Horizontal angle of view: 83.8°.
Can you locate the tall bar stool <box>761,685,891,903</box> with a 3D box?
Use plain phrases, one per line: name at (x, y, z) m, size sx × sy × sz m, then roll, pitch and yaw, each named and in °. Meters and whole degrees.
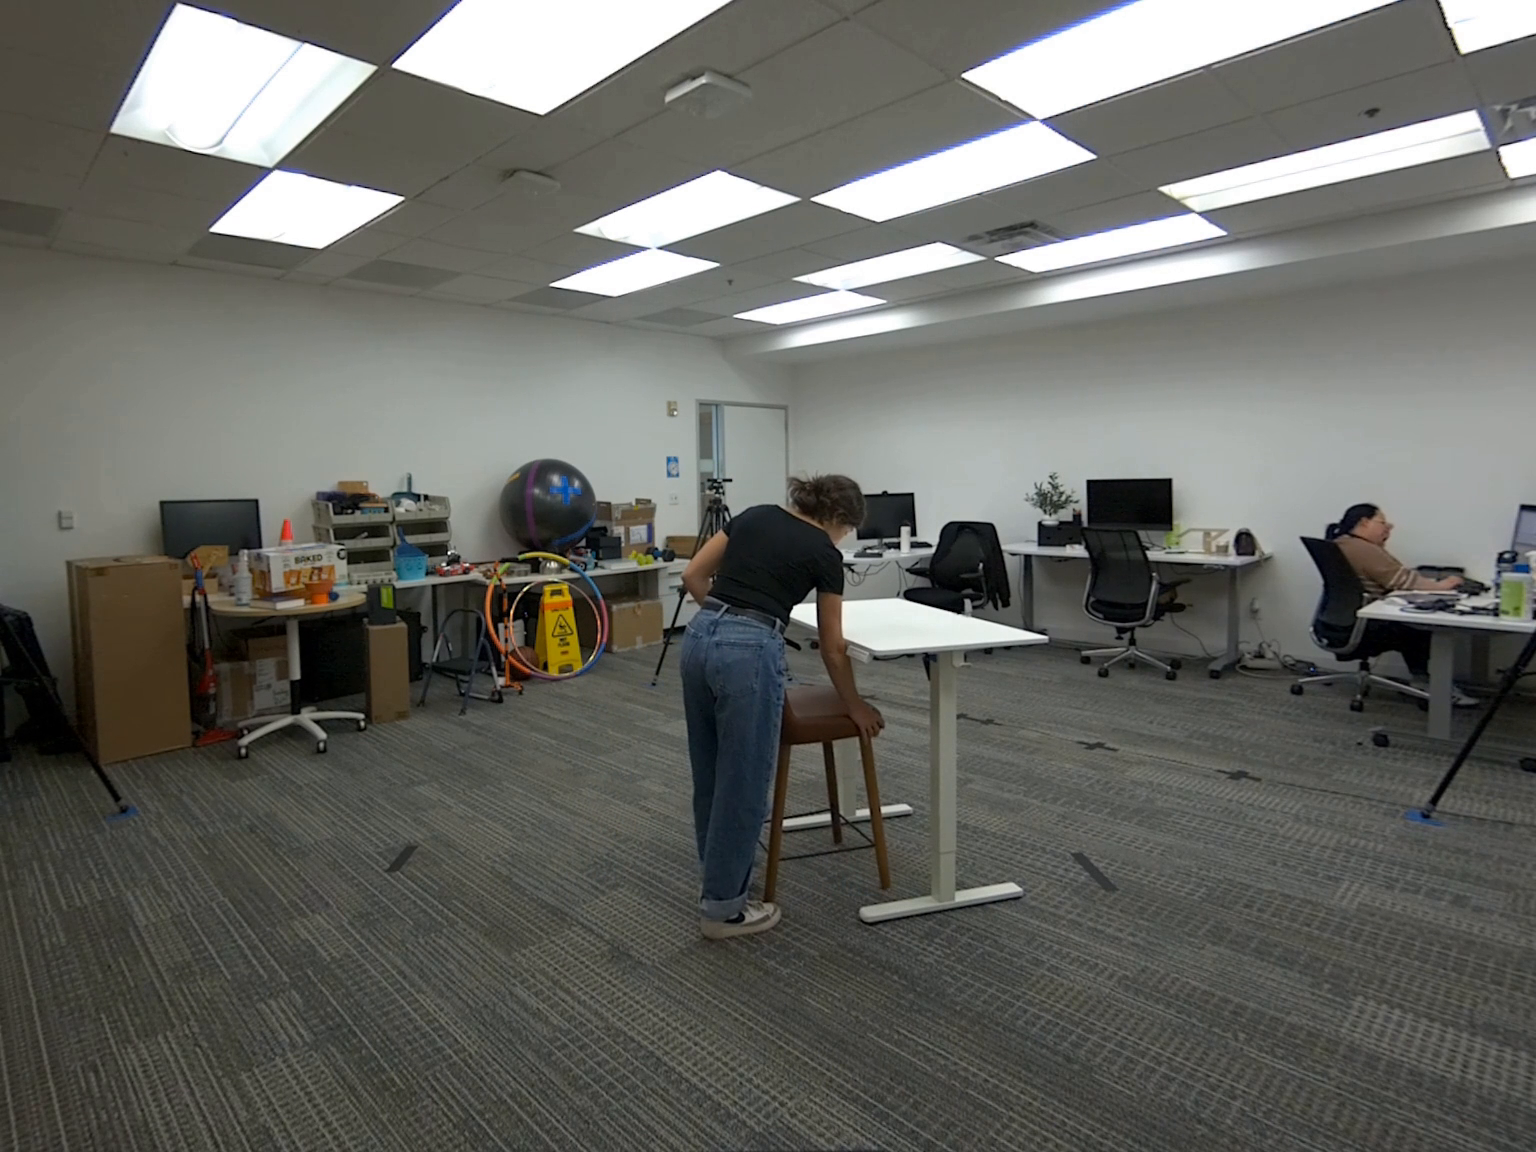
tall bar stool at (0.124, 0.619, 3.002) m, size 0.460 × 0.886 × 0.465 m, roll -5°, pitch 4°, yaw -18°
